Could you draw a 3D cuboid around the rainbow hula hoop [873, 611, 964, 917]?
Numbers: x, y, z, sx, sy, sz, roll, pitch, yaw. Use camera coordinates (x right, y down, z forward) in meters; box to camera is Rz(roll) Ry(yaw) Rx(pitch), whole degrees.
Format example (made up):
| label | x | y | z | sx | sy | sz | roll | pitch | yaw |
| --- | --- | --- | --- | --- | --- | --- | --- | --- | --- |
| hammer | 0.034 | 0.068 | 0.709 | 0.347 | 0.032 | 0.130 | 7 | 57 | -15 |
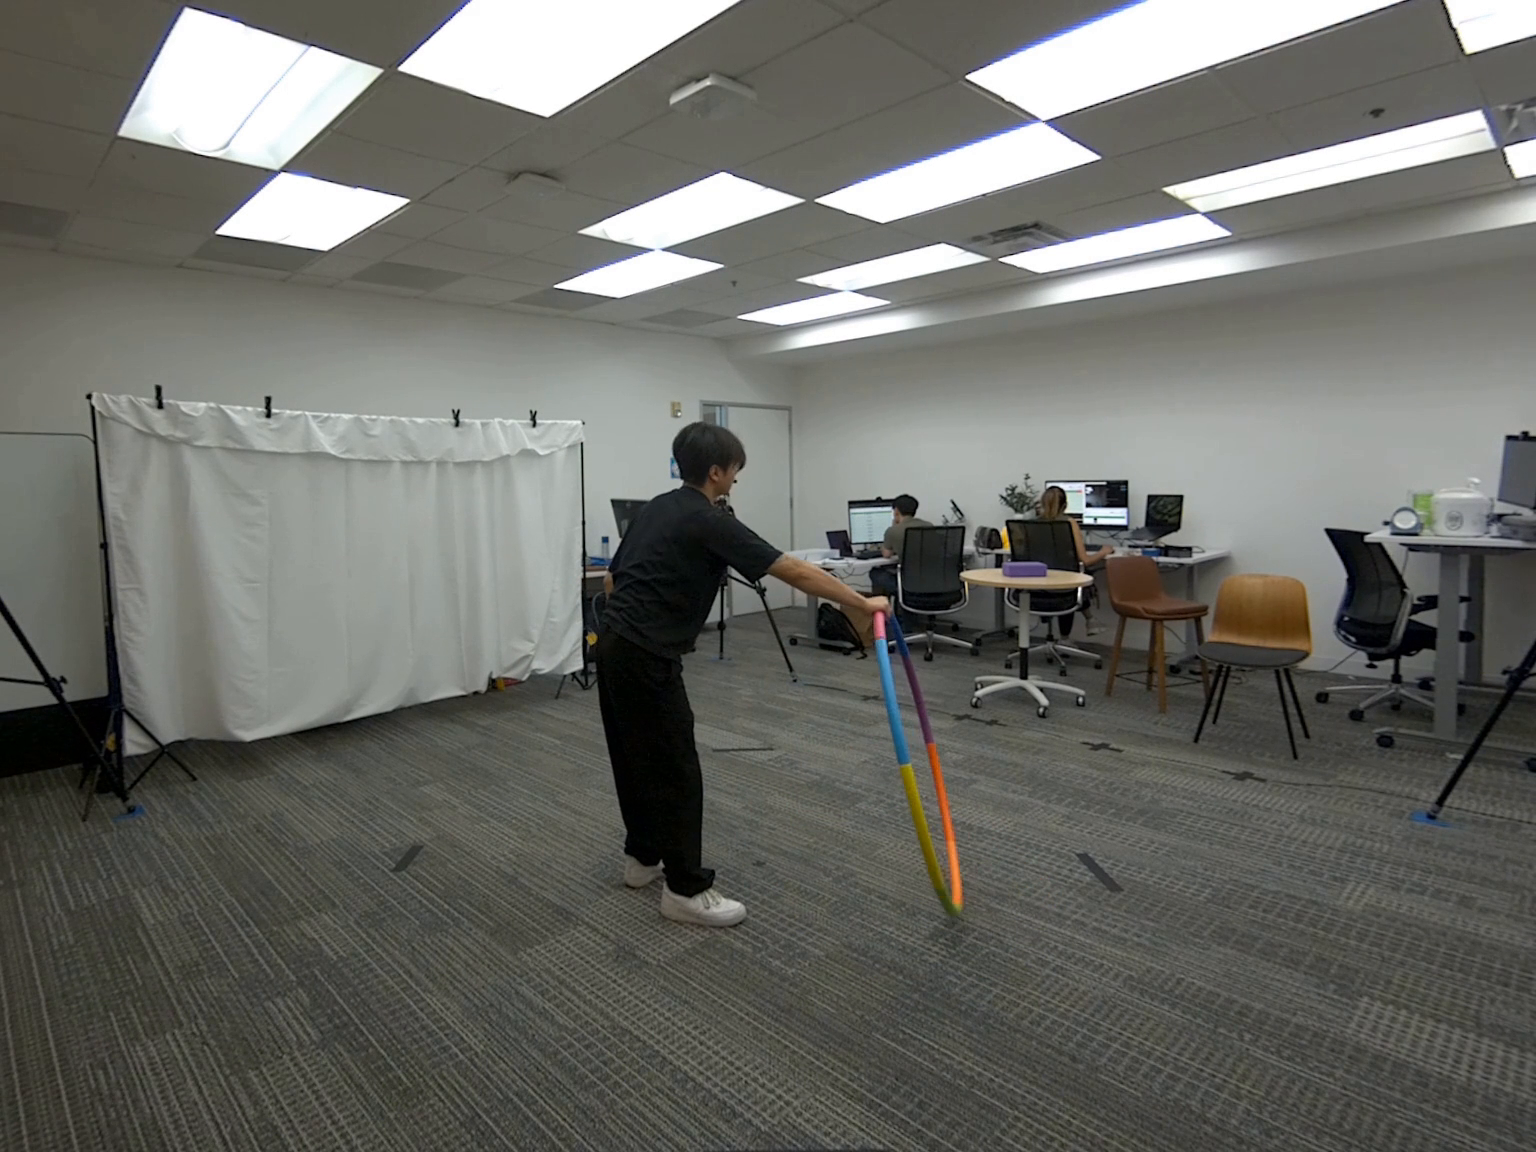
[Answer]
| label | x | y | z | sx | sy | sz | roll | pitch | yaw |
| --- | --- | --- | --- | --- | --- | --- | --- | --- | --- |
| rainbow hula hoop | 0.485 | 0.570 | 2.753 | 0.036 | 0.979 | 0.970 | -15 | 1 | 13 |
